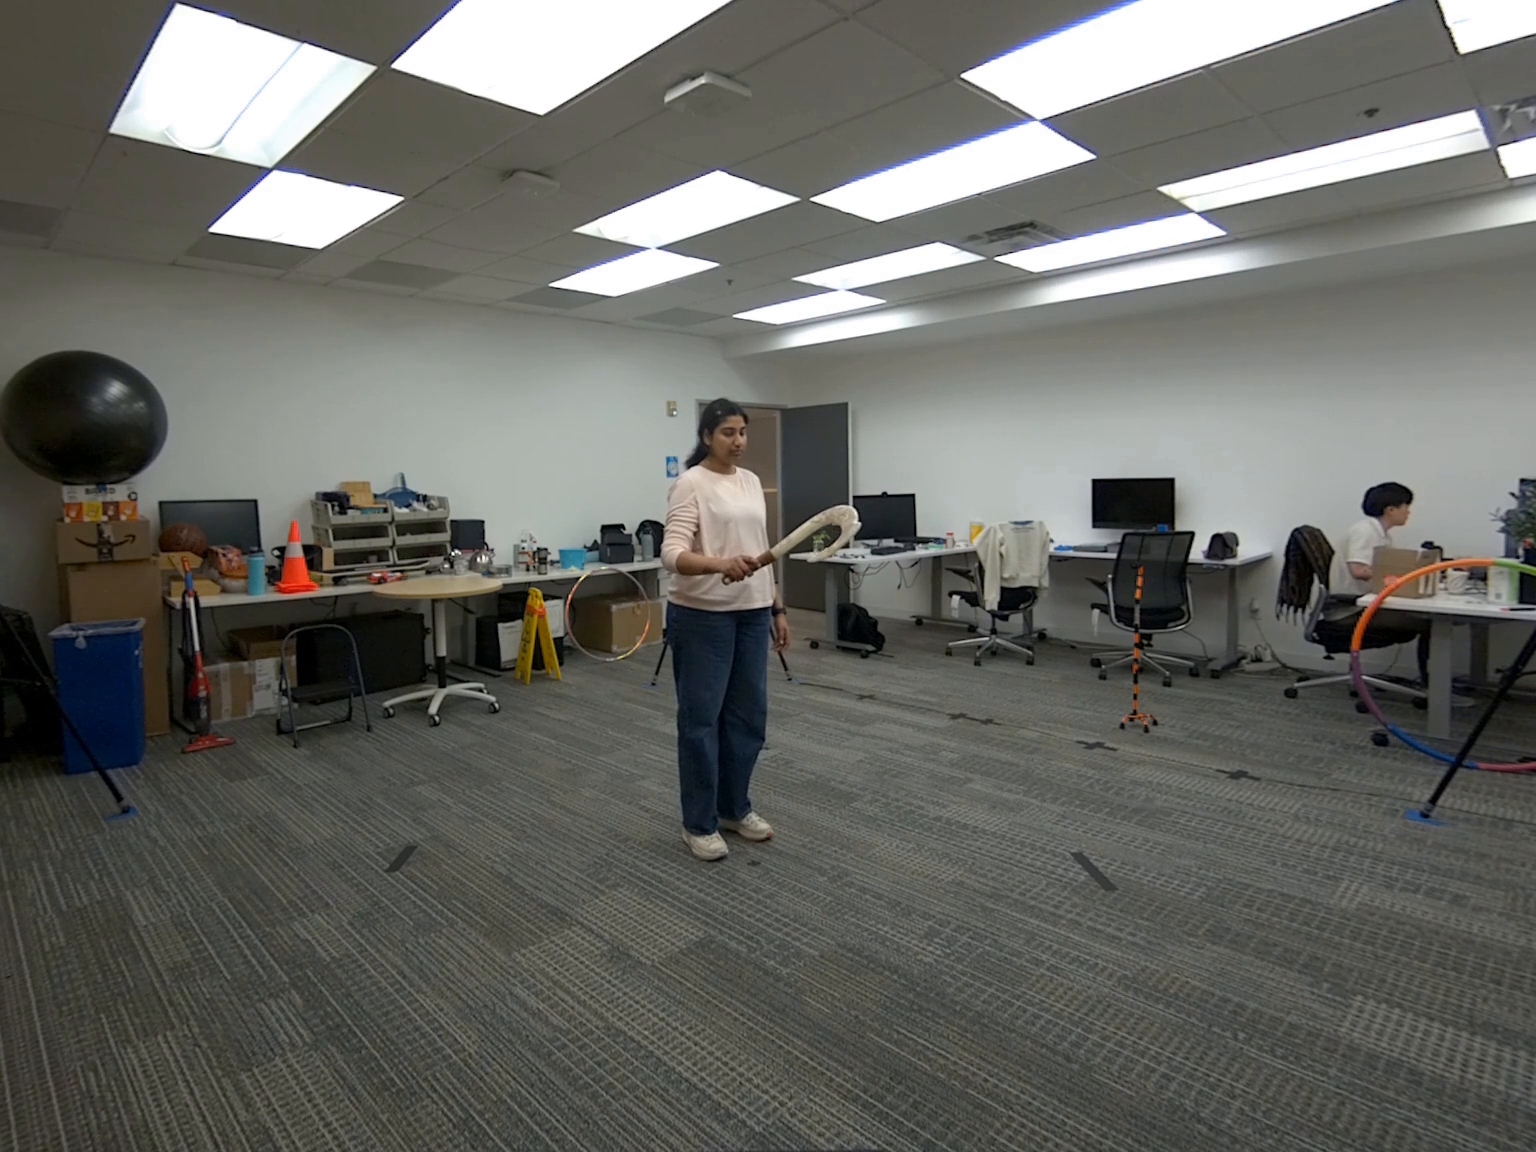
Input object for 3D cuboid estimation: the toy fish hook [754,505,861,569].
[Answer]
[{"bbox_3d":[0.078,-0.080,2.749,0.509,0.047,0.230,-30,29,16],"label":"toy fish hook"}]
